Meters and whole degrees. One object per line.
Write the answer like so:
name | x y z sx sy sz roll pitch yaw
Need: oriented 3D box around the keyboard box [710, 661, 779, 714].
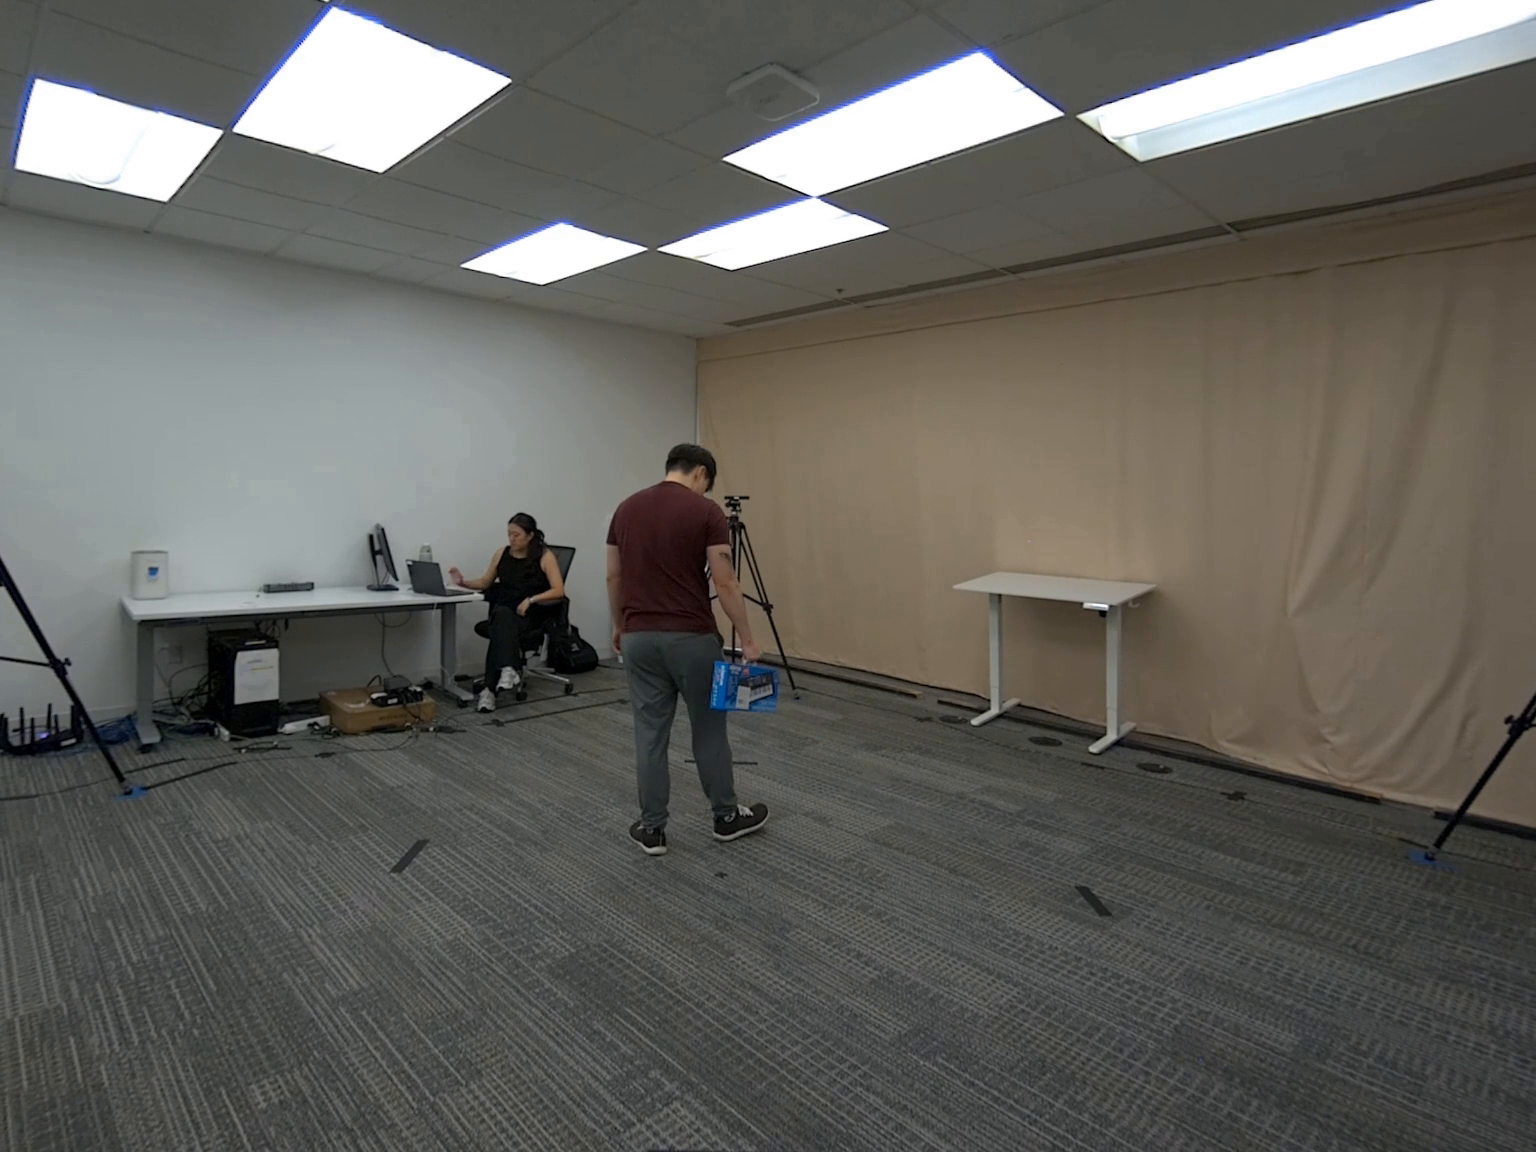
keyboard box | -0.087 0.435 3.260 0.060 0.177 0.426 2 -9 25
